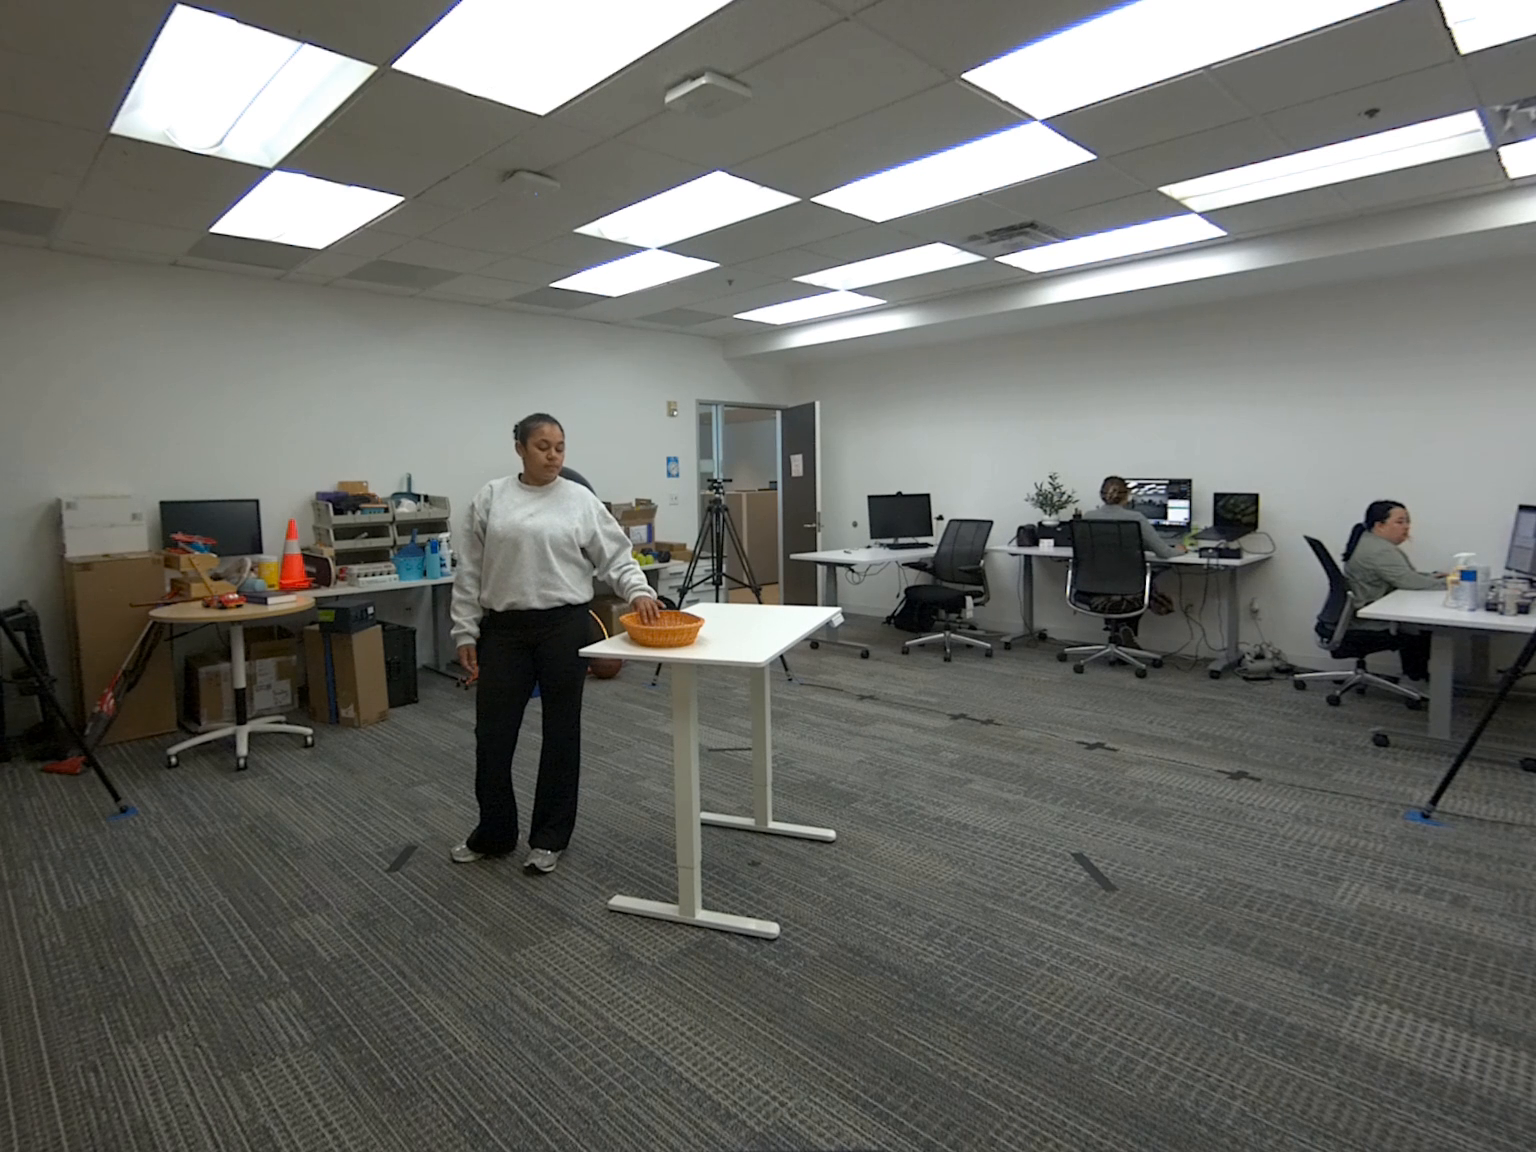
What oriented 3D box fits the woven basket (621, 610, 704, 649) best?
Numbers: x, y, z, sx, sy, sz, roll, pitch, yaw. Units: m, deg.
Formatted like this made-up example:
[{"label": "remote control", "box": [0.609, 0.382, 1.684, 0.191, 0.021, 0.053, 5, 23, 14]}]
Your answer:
[{"label": "woven basket", "box": [-0.344, 0.177, 2.774, 0.249, 0.073, 0.357, -3, 7, -16]}]
